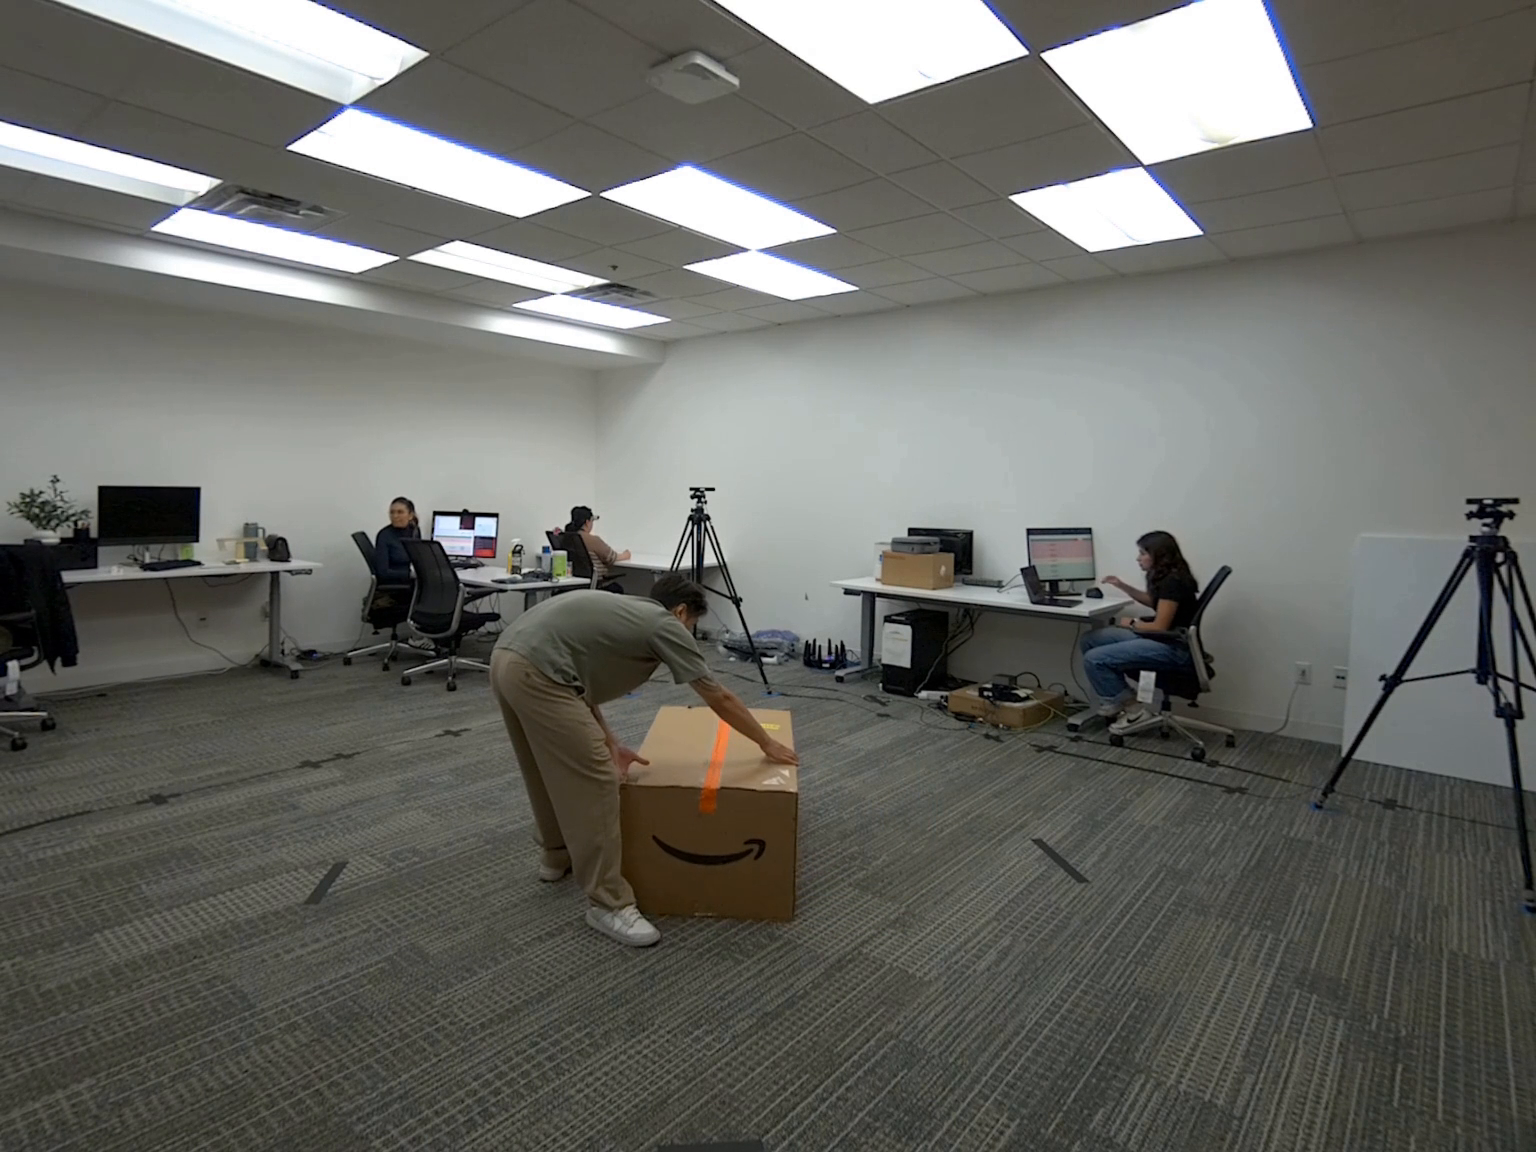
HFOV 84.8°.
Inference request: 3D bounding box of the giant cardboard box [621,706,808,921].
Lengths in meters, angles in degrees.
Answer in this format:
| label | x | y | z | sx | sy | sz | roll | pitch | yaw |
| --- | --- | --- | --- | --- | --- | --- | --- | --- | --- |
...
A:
| label | x | y | z | sx | sy | sz | roll | pitch | yaw |
| --- | --- | --- | --- | --- | --- | --- | --- | --- | --- |
| giant cardboard box | -0.193 | 0.834 | 3.248 | 0.579 | 0.424 | 1.028 | 0 | 6 | 0 |
